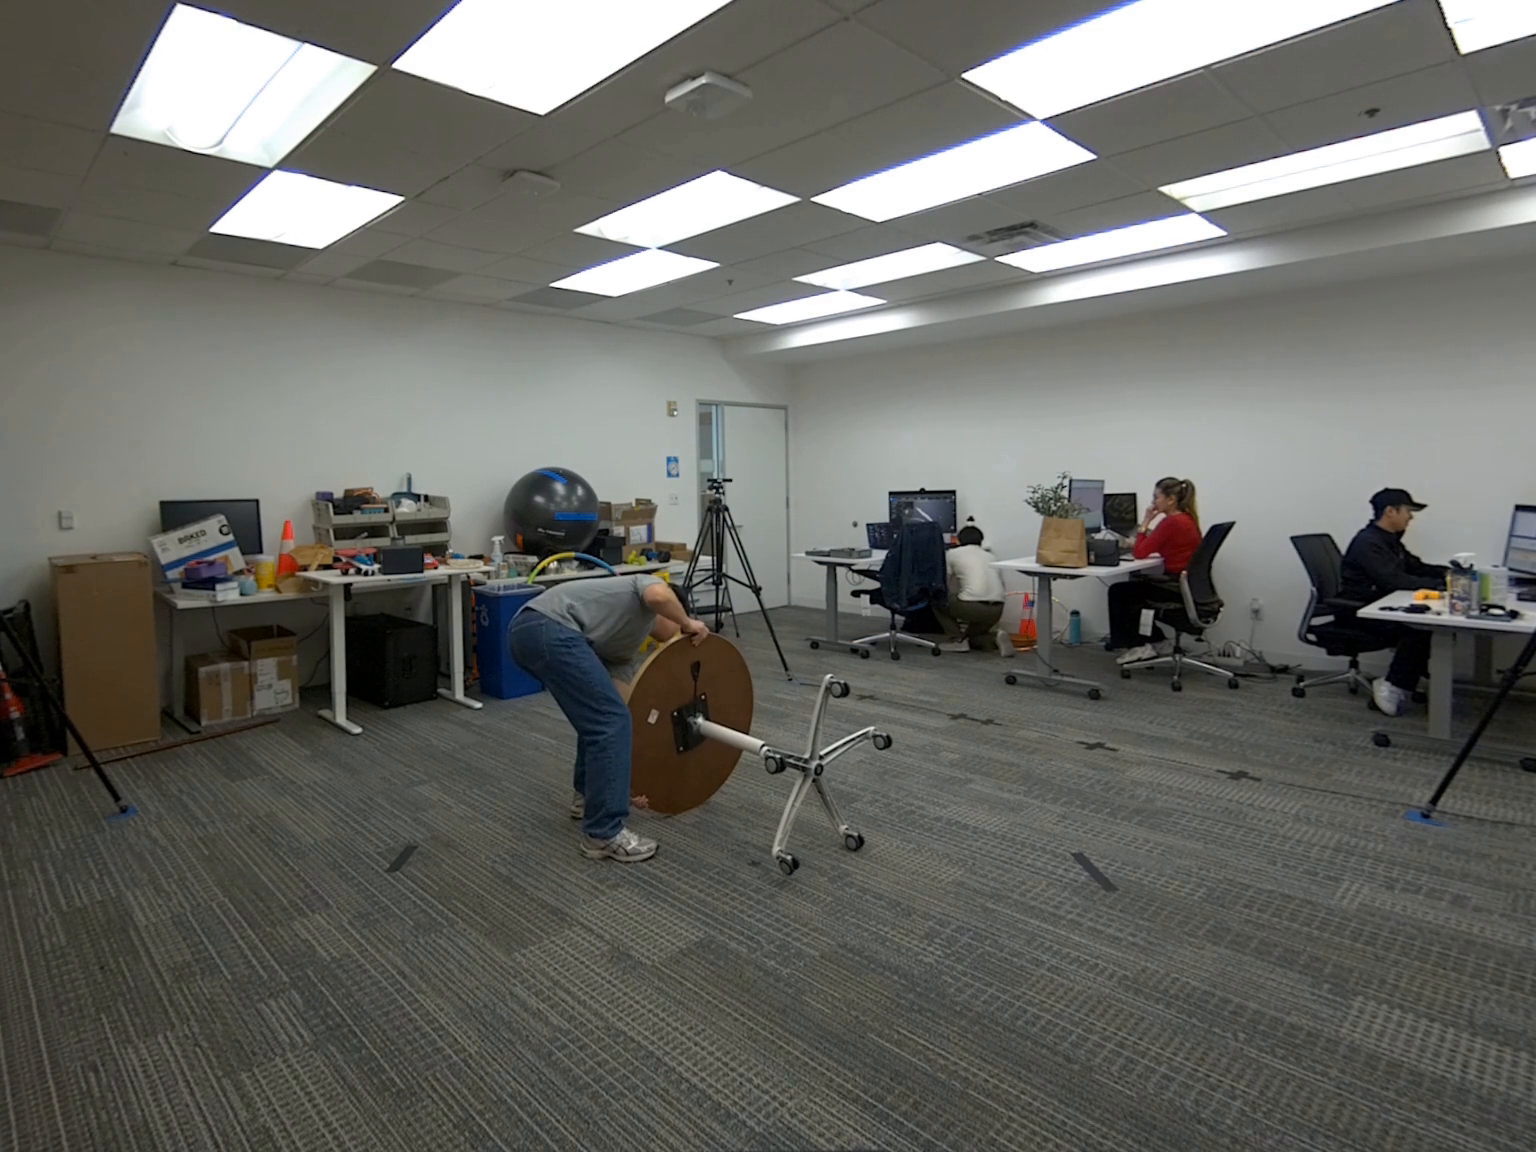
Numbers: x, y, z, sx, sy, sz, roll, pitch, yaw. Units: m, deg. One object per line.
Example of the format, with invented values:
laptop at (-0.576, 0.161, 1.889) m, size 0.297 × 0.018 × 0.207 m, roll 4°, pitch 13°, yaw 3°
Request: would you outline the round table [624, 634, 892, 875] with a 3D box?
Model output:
round table at (-0.045, 0.667, 3.321) m, size 0.820 × 0.759 × 0.744 m, roll 10°, pitch 10°, yaw 42°
